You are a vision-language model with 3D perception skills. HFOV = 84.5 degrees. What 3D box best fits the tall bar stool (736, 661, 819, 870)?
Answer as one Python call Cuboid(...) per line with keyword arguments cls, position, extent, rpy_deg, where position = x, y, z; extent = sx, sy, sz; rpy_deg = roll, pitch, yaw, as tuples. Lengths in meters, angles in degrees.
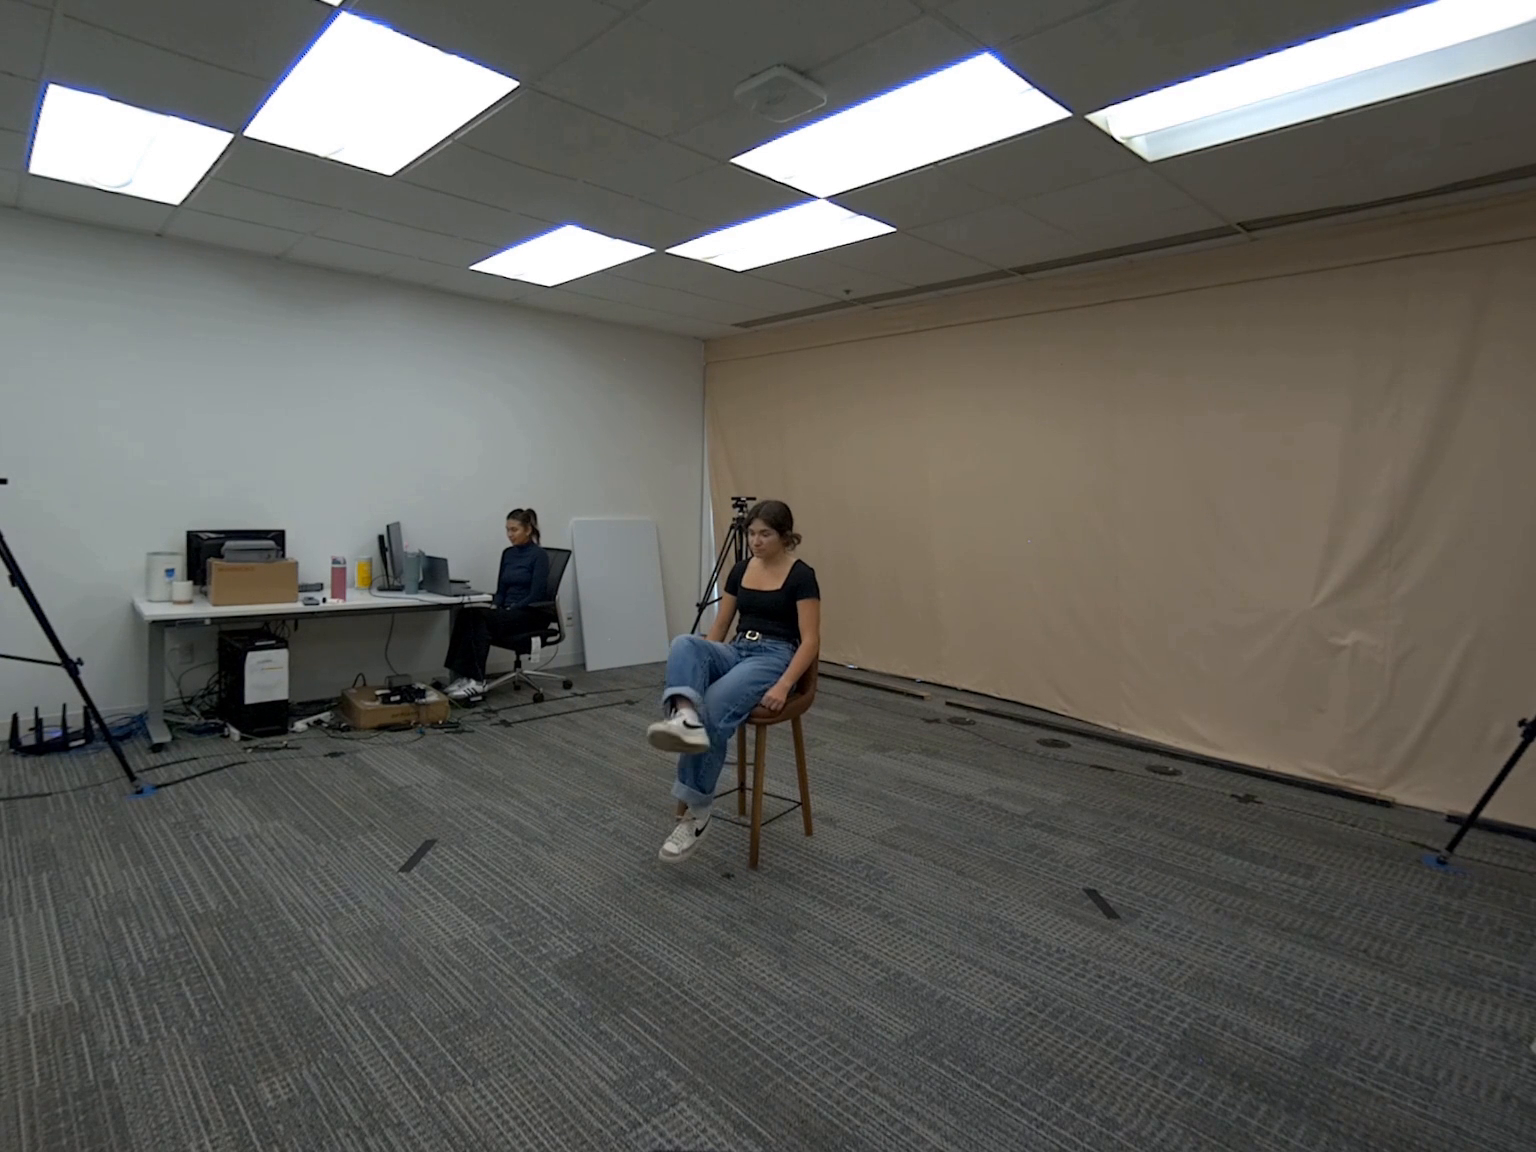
Cuboid(cls="tall bar stool", position=(-0.075, 0.647, 3.435), extent=(0.467, 0.889, 0.457), rpy_deg=(4, 2, 36))
